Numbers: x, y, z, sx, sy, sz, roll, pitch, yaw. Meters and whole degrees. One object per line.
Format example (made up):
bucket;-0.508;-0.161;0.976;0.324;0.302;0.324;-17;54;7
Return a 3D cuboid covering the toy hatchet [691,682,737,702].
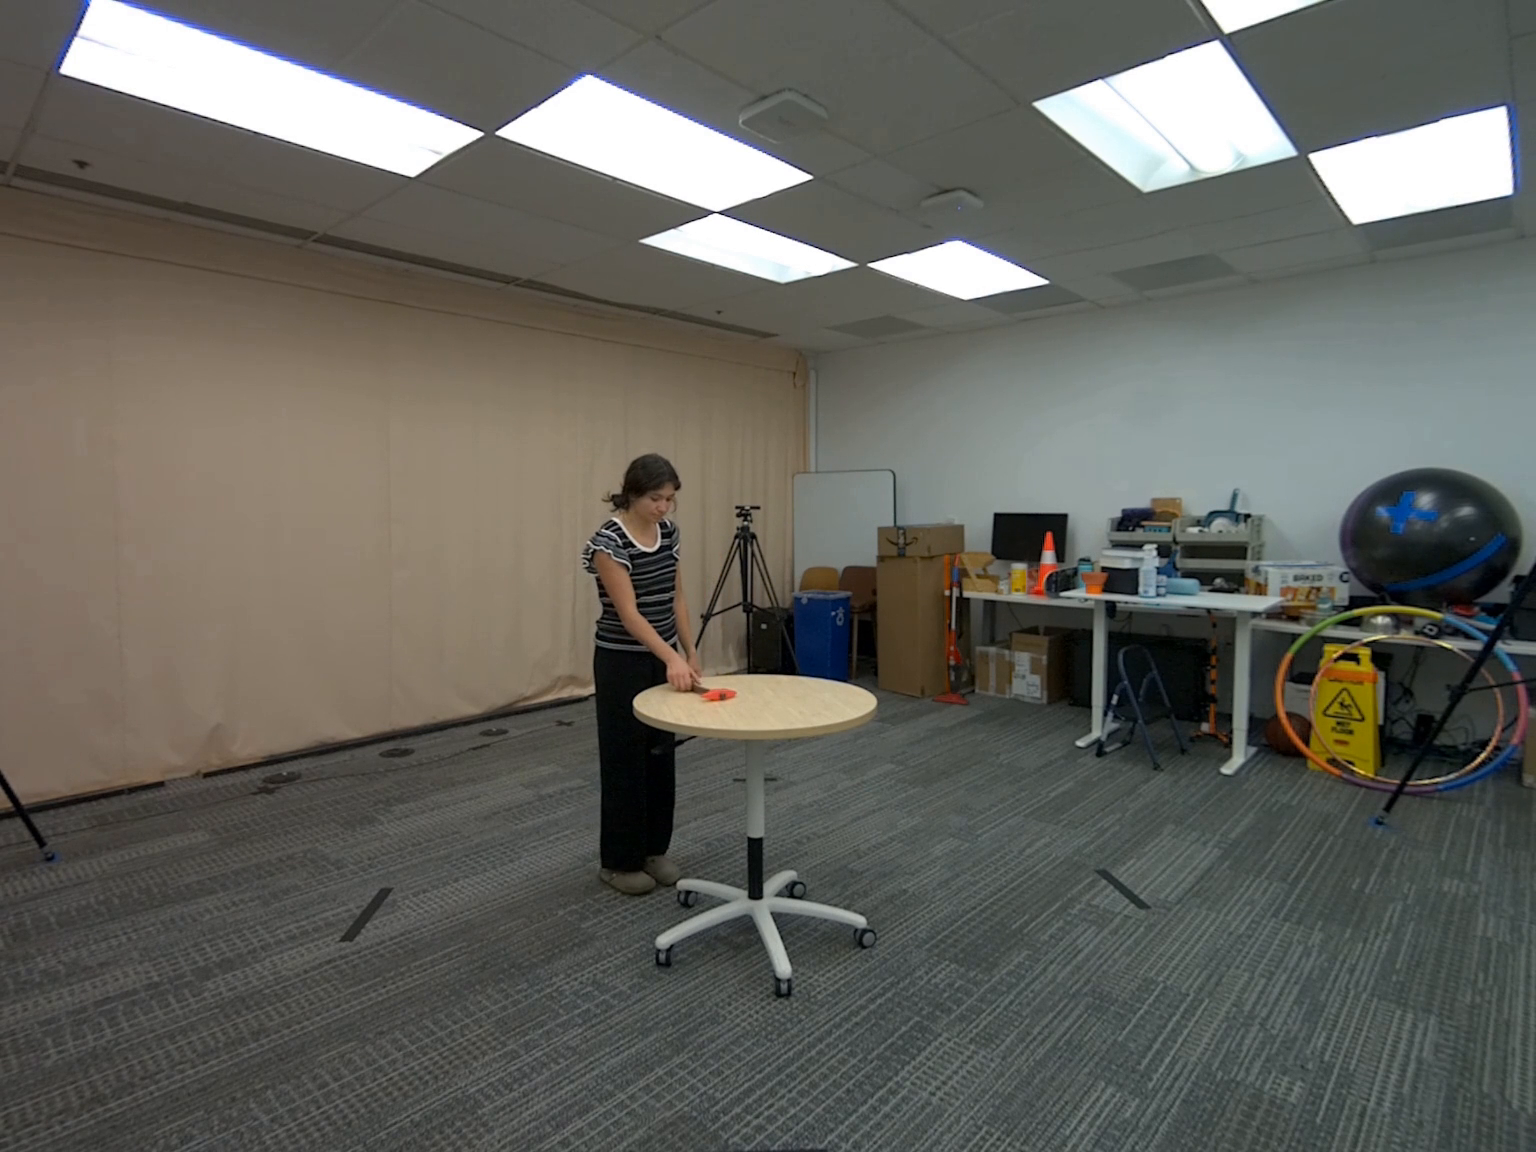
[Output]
toy hatchet;-0.182;0.370;2.755;0.129;0.029;0.275;1;2;-16
